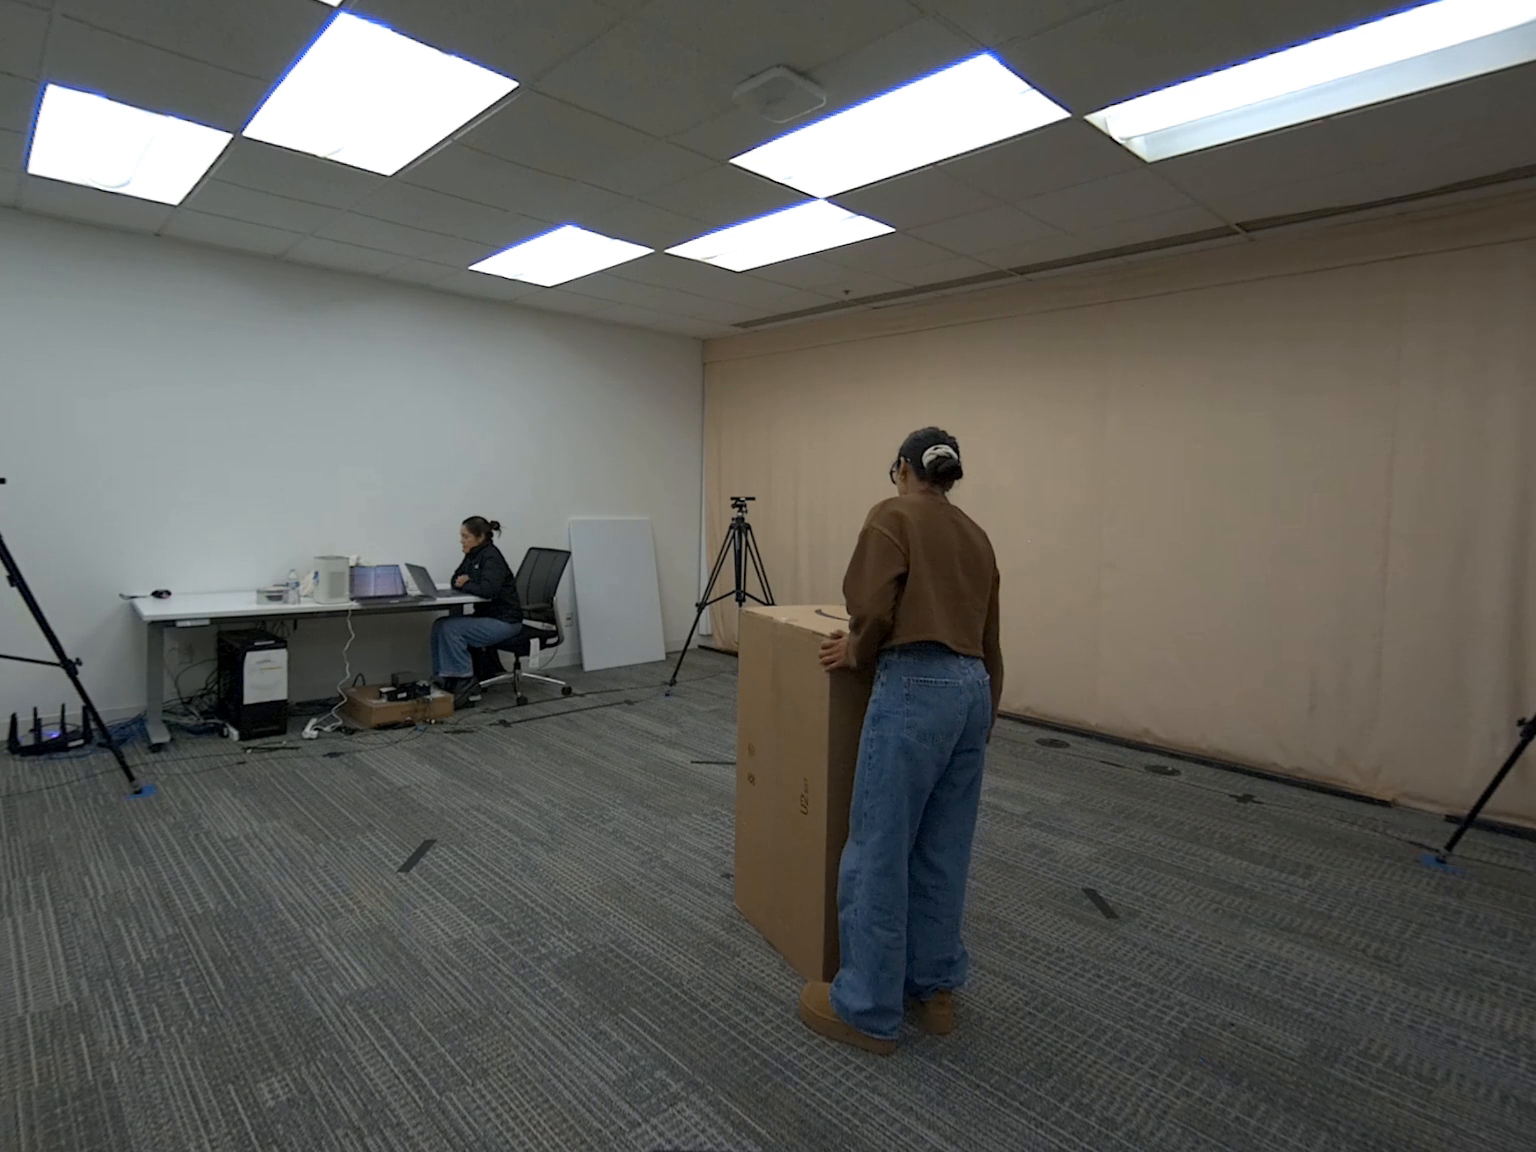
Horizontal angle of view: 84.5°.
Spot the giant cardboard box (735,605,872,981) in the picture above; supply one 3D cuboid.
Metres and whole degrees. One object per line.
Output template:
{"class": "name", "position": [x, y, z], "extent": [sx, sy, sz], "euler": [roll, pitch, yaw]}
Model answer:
{"class": "giant cardboard box", "position": [0.205, 0.645, 2.694], "extent": [0.418, 1.023, 0.590], "euler": [0, 4, -28]}
